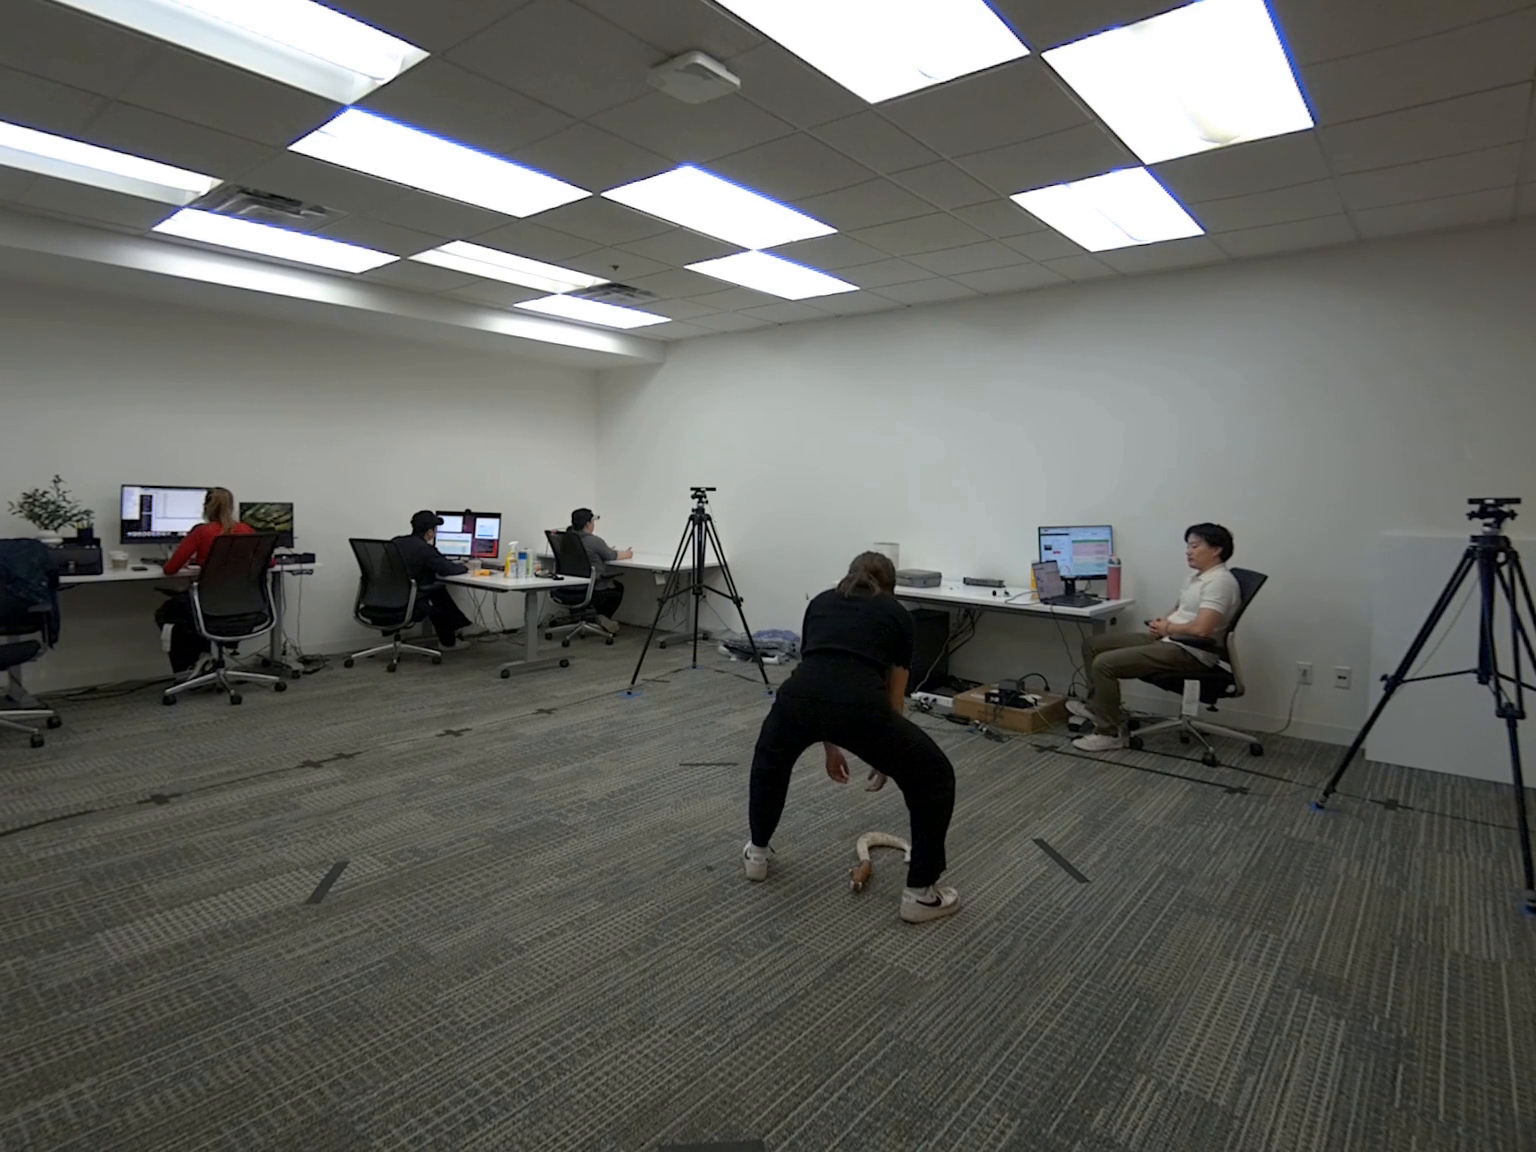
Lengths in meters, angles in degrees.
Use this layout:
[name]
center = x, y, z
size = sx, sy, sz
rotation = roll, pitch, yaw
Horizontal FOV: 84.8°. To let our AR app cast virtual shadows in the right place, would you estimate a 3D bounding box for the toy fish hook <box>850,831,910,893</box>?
[toy fish hook]
center = 0.412, 1.052, 3.147
size = 0.229, 0.048, 0.499
rotation = 1, 6, 17
